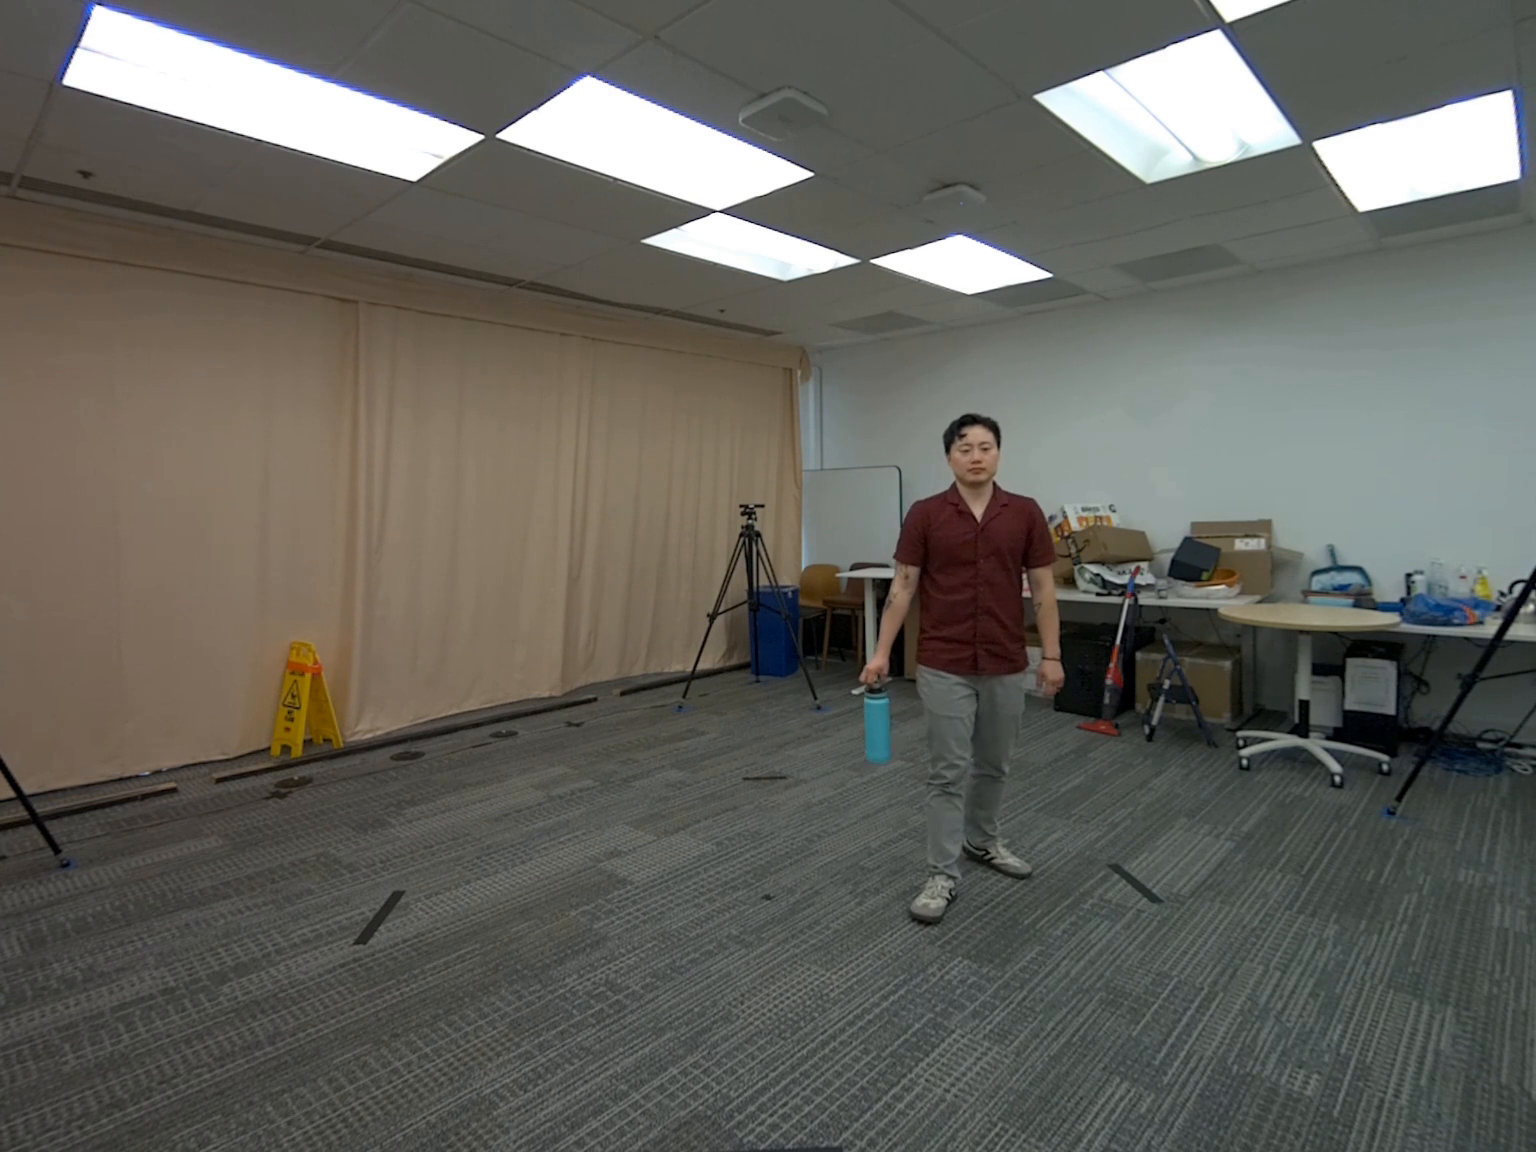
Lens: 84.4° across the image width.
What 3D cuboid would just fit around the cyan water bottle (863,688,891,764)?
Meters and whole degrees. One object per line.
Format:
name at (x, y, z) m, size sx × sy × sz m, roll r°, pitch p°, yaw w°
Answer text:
cyan water bottle at (0.405, 0.518, 2.999) m, size 0.092 × 0.283 × 0.092 m, roll -5°, pitch 3°, yaw -1°
